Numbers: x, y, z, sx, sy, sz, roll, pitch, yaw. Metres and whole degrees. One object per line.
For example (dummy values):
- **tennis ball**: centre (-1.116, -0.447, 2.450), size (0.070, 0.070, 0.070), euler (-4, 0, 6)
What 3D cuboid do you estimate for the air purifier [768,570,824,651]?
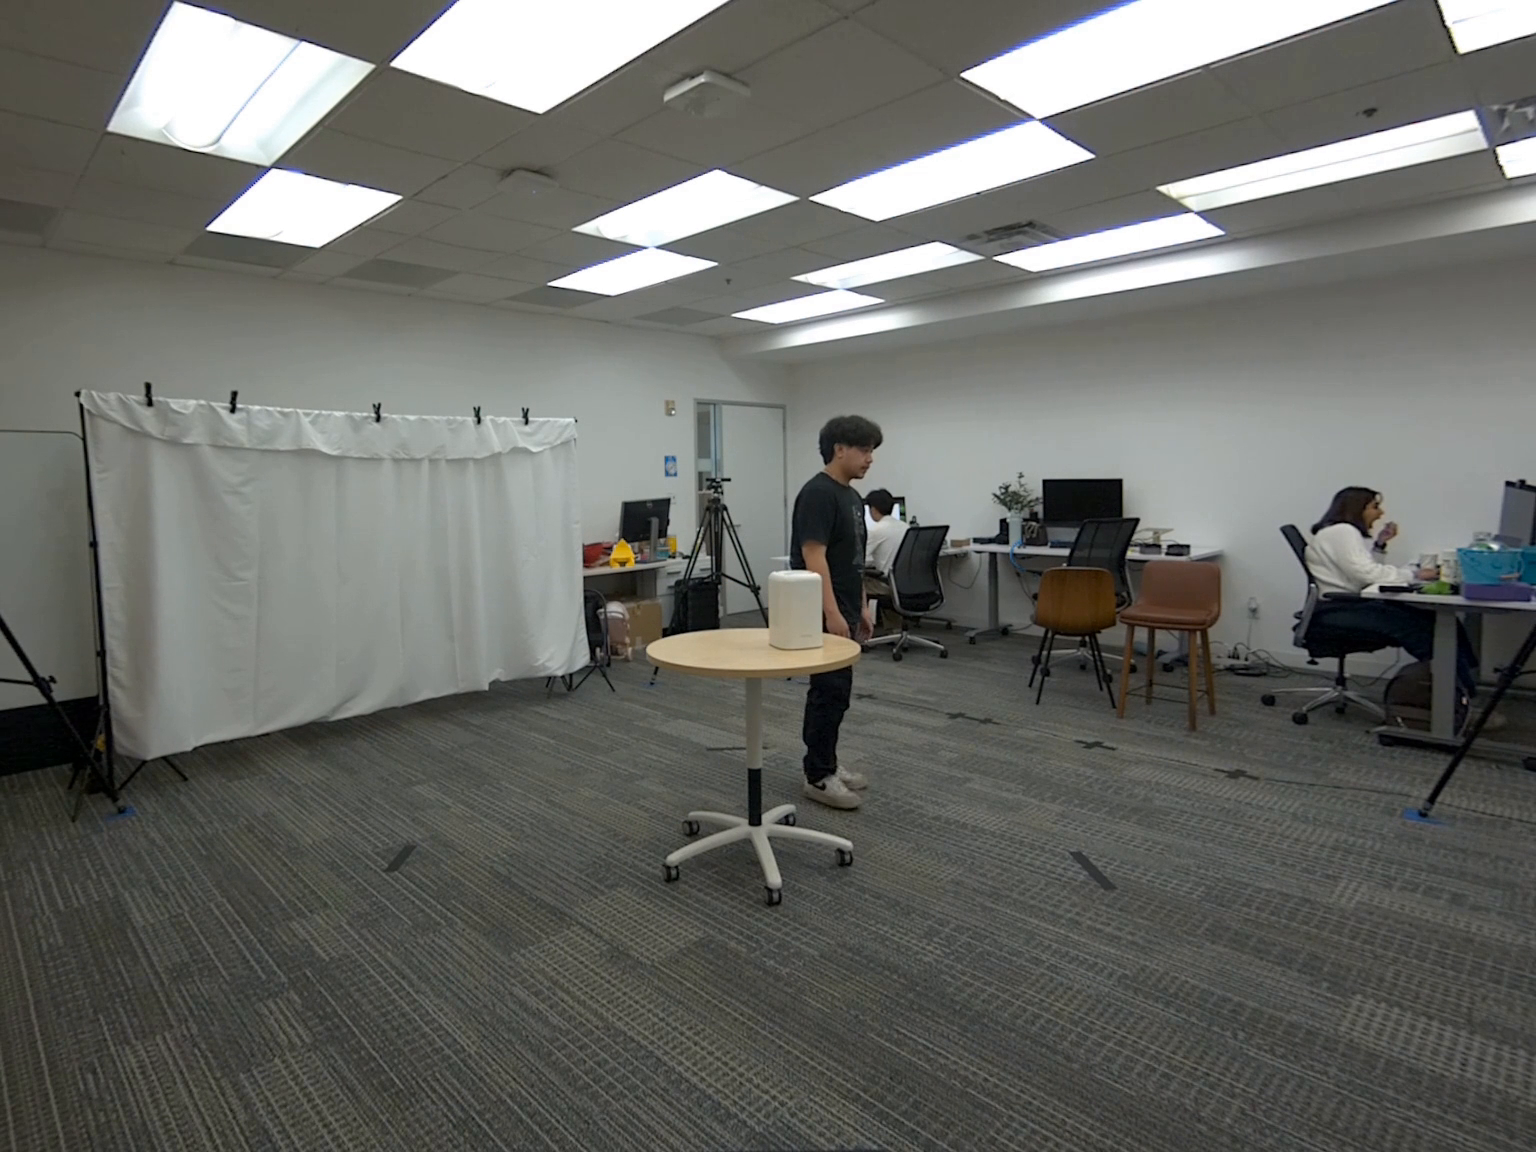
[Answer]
- **air purifier**: centre (0.106, 0.117, 3.069), size (0.168, 0.265, 0.175), euler (-1, 3, -21)
